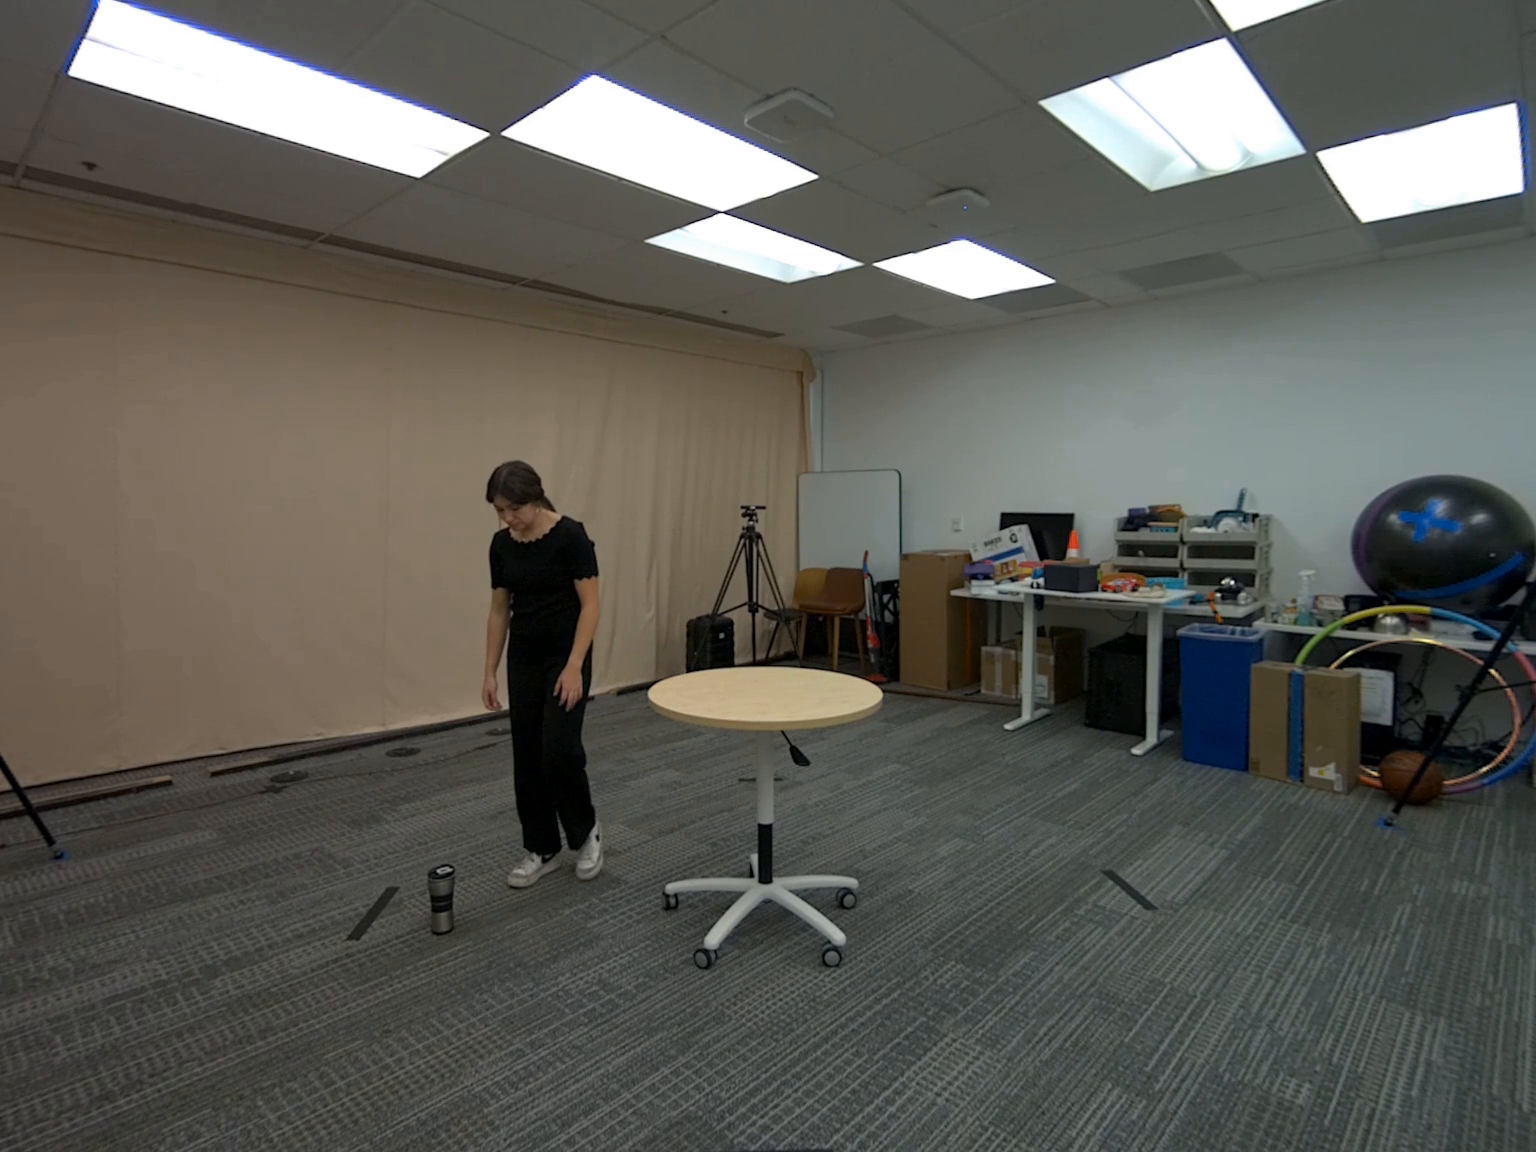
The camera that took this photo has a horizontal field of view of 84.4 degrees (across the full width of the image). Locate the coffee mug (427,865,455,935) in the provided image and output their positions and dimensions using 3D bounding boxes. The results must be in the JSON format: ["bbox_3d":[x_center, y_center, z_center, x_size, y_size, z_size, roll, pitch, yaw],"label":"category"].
[{"bbox_3d":[-1.061,1.069,2.803,0.090,0.202,0.118,-2,3,34],"label":"coffee mug"}]
